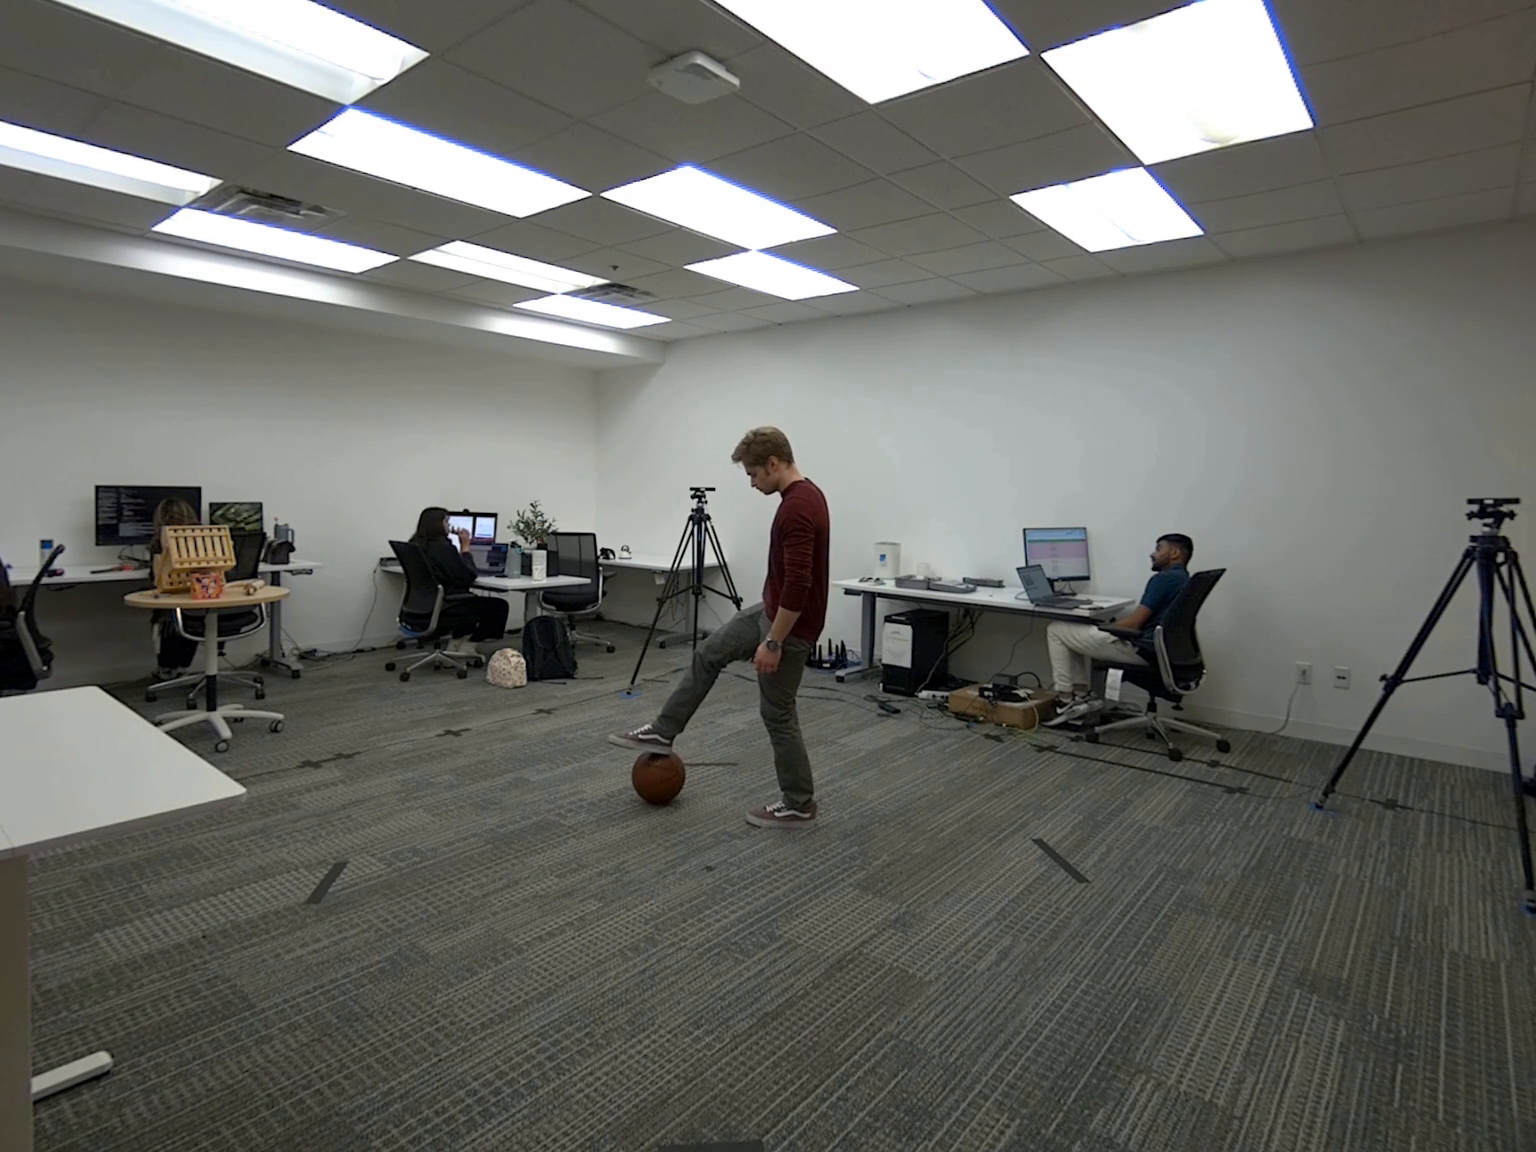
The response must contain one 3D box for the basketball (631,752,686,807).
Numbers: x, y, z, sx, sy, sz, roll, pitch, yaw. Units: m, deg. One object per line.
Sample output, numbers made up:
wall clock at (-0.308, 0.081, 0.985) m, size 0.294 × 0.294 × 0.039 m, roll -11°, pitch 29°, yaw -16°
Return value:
basketball at (-0.494, 0.880, 3.767) m, size 0.235 × 0.235 × 0.237 m, roll 1°, pitch 4°, yaw -2°
